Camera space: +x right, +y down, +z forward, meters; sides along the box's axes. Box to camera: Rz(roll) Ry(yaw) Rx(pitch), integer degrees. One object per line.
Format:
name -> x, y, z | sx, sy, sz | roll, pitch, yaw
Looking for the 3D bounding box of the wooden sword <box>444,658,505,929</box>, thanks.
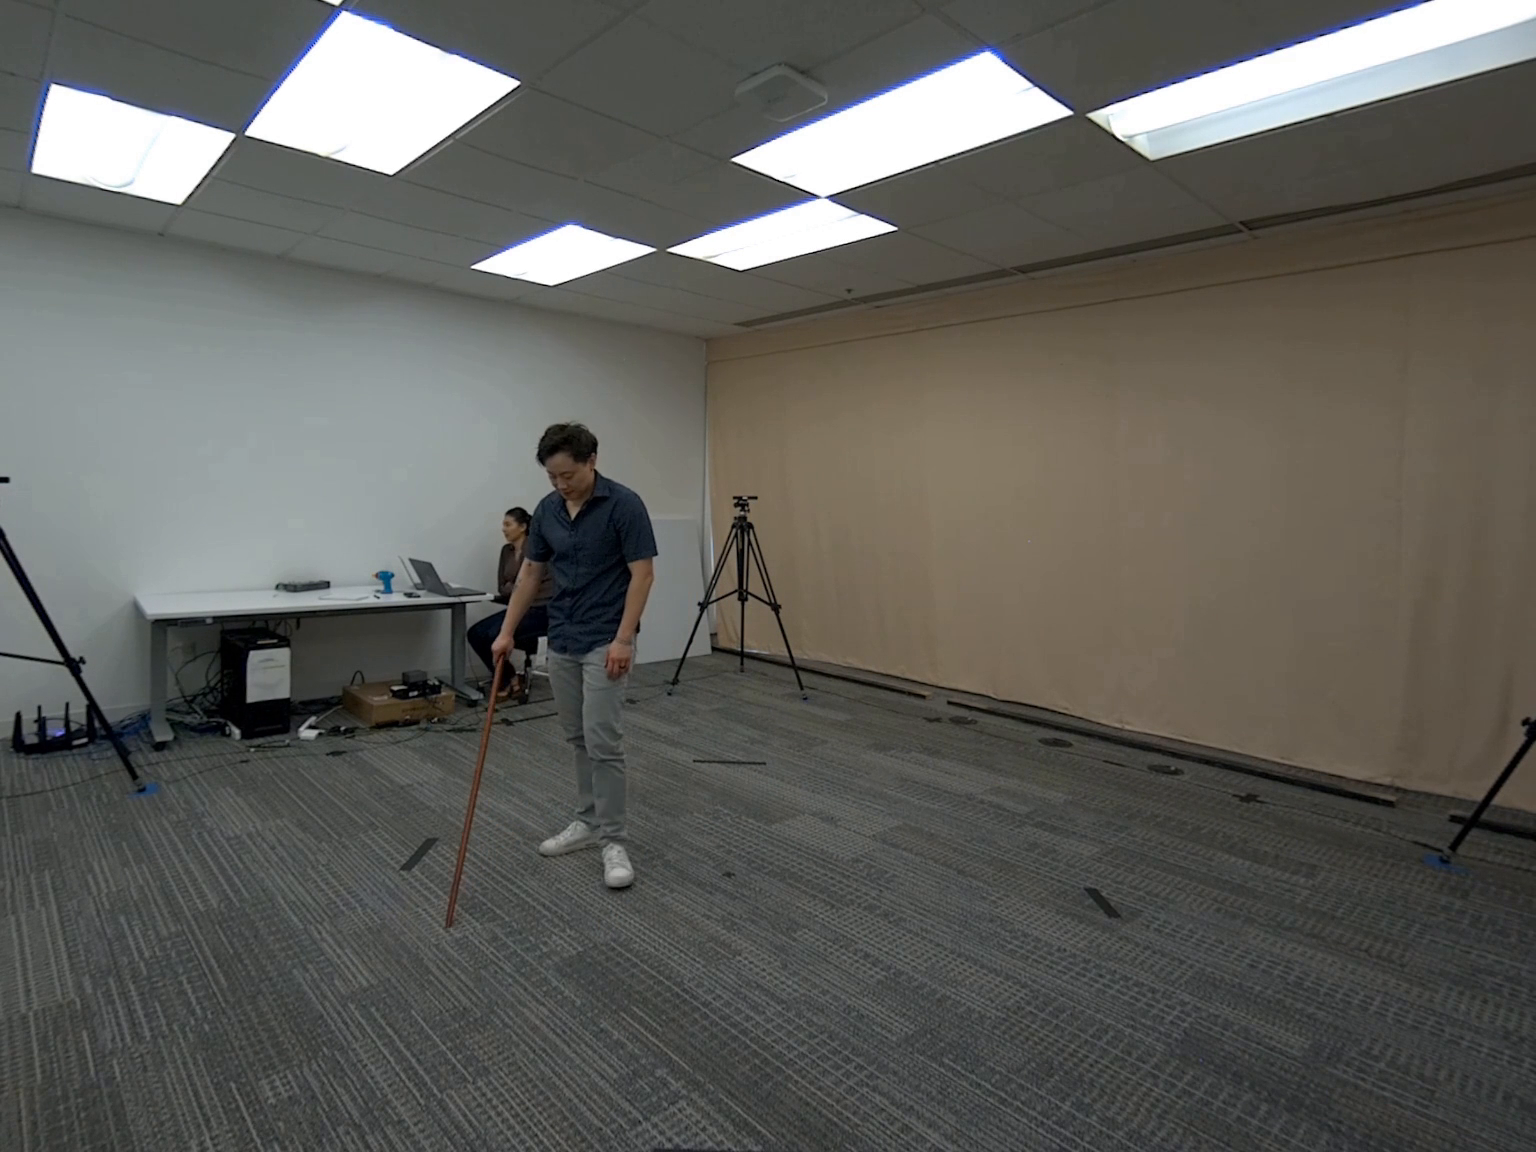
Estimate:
wooden sword -> -1.046, 0.714, 2.993 | 0.052, 1.048, 0.023 | -26, -42, 26
